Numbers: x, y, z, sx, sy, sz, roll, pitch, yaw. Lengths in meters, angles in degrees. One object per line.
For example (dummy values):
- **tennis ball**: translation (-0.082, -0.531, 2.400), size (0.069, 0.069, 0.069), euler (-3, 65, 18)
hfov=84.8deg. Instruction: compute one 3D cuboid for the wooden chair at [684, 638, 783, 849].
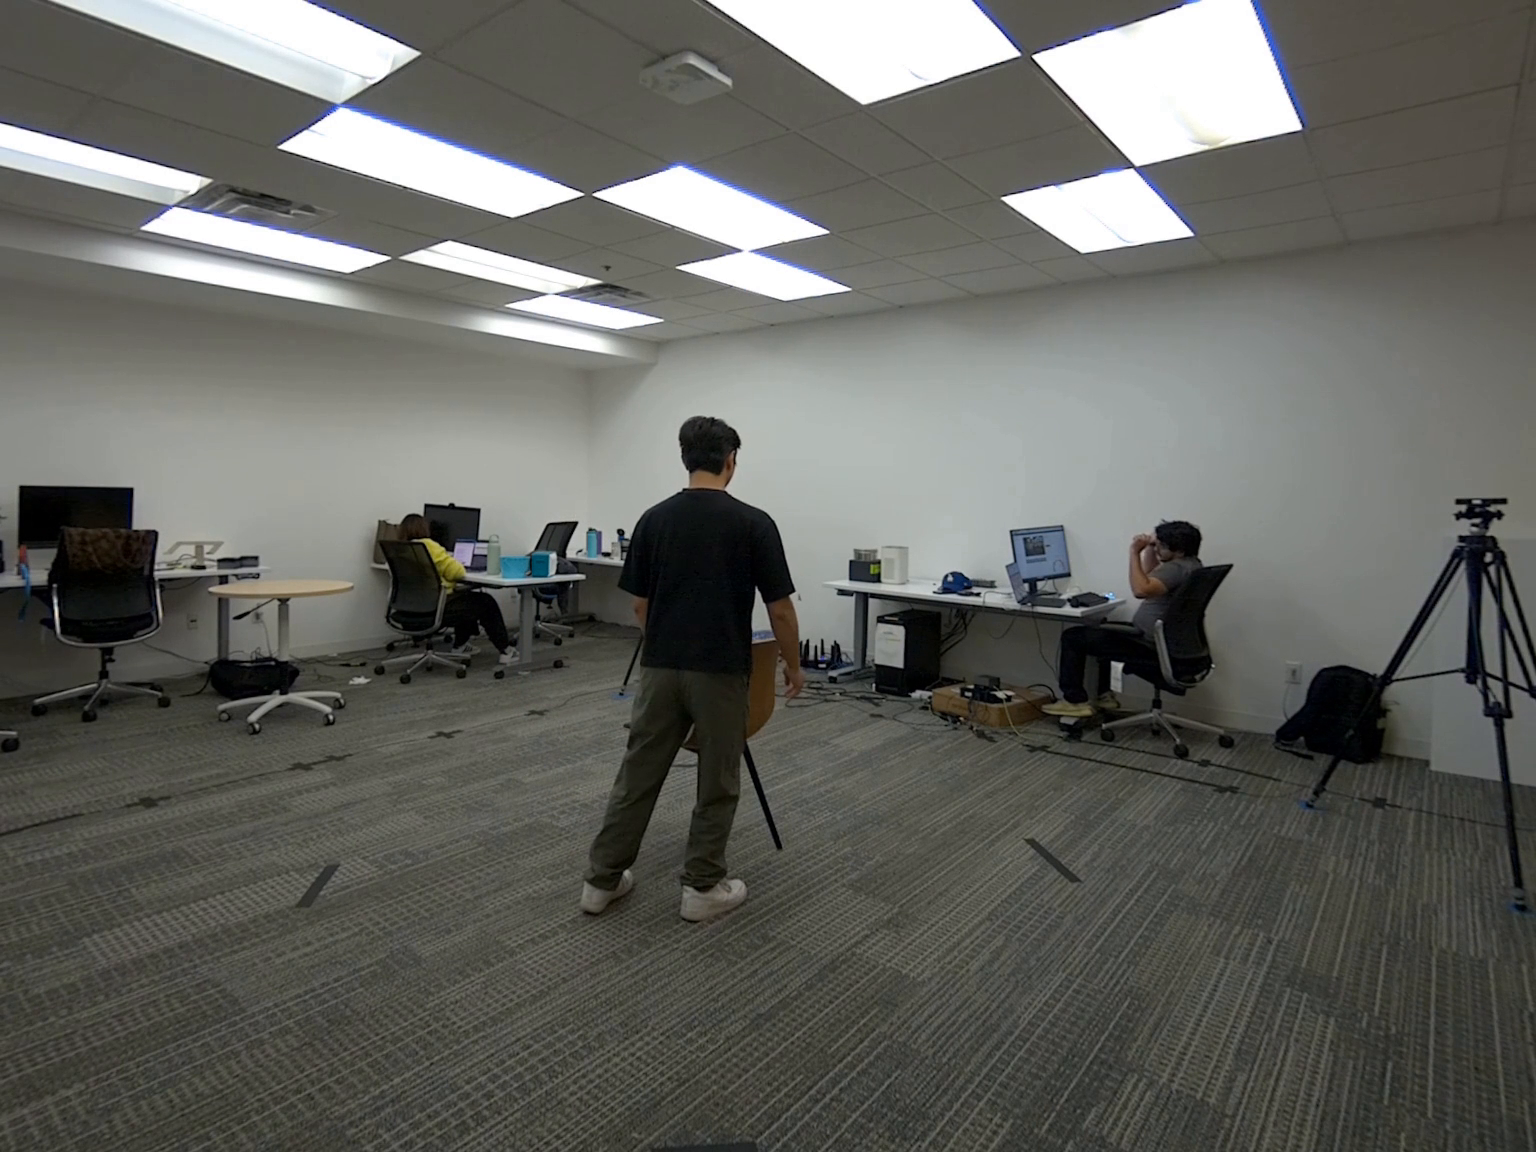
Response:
- **wooden chair**: translation (-0.263, 0.627, 3.270), size (0.542, 0.873, 0.464), euler (9, 8, 40)
